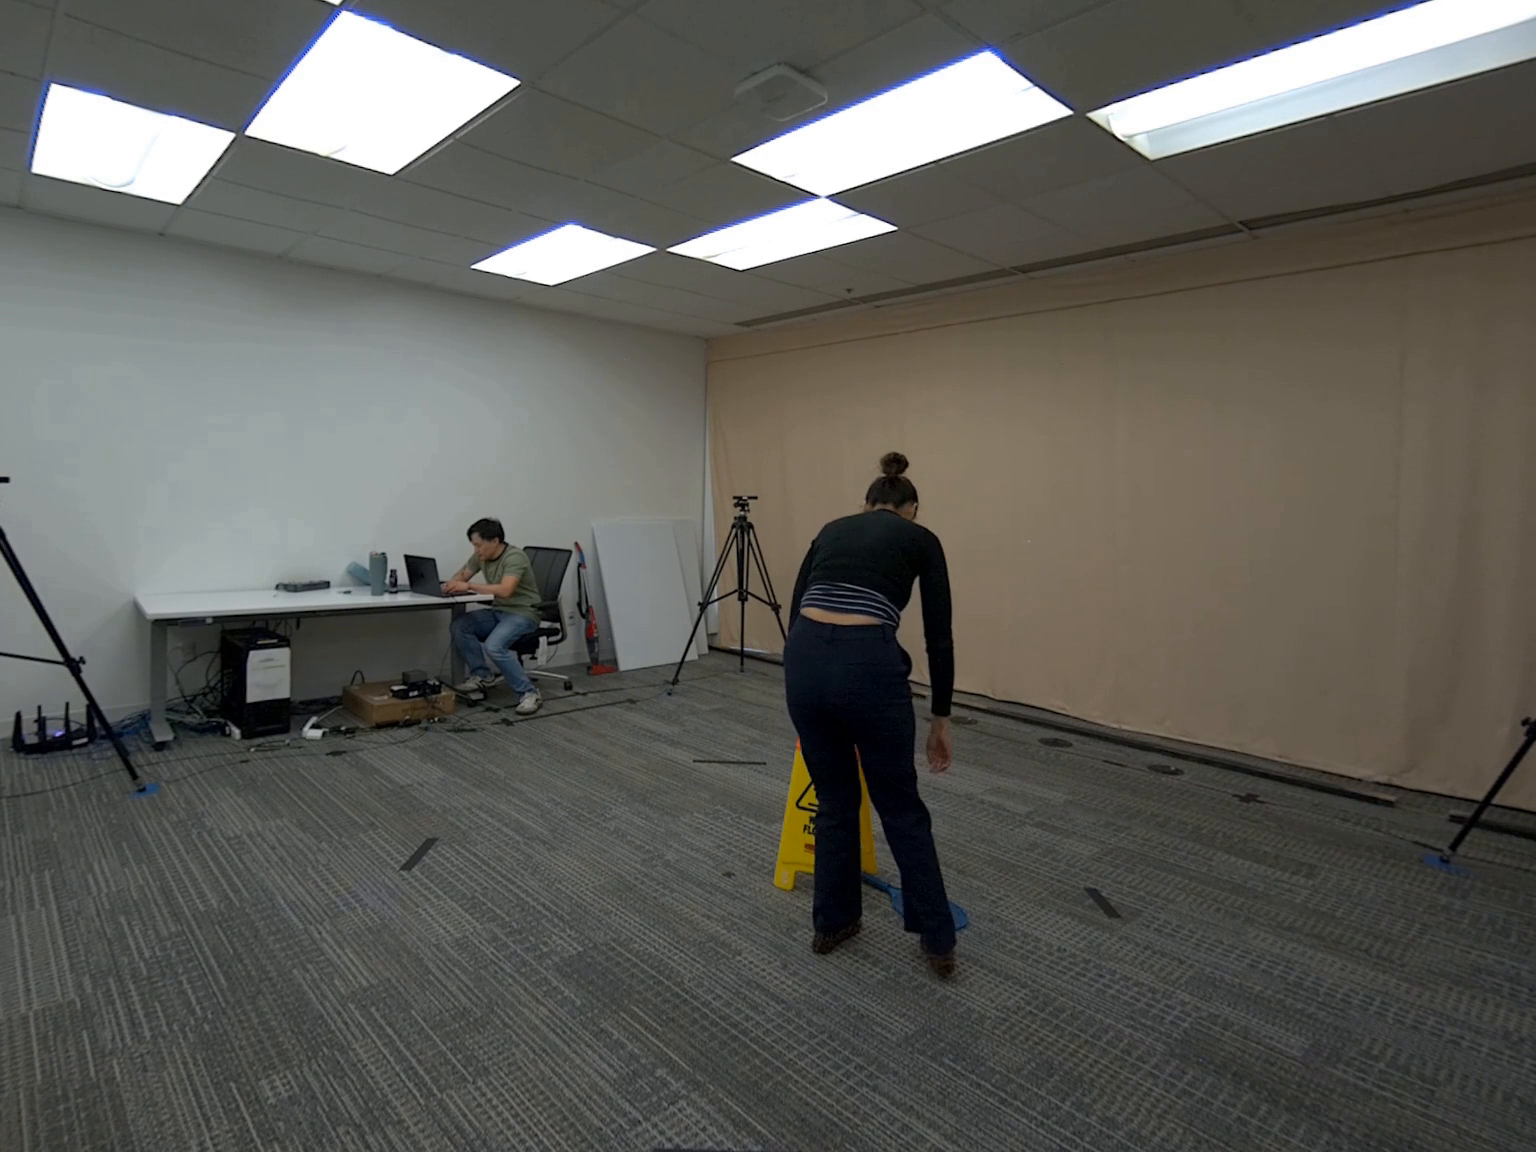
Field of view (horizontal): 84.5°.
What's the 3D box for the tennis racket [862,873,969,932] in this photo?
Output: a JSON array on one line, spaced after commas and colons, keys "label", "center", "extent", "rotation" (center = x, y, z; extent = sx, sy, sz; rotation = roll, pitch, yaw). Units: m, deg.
[{"label": "tennis racket", "center": [0.479, 1.121, 2.917], "extent": [0.209, 0.031, 0.444], "rotation": [-4, 9, -40]}]
